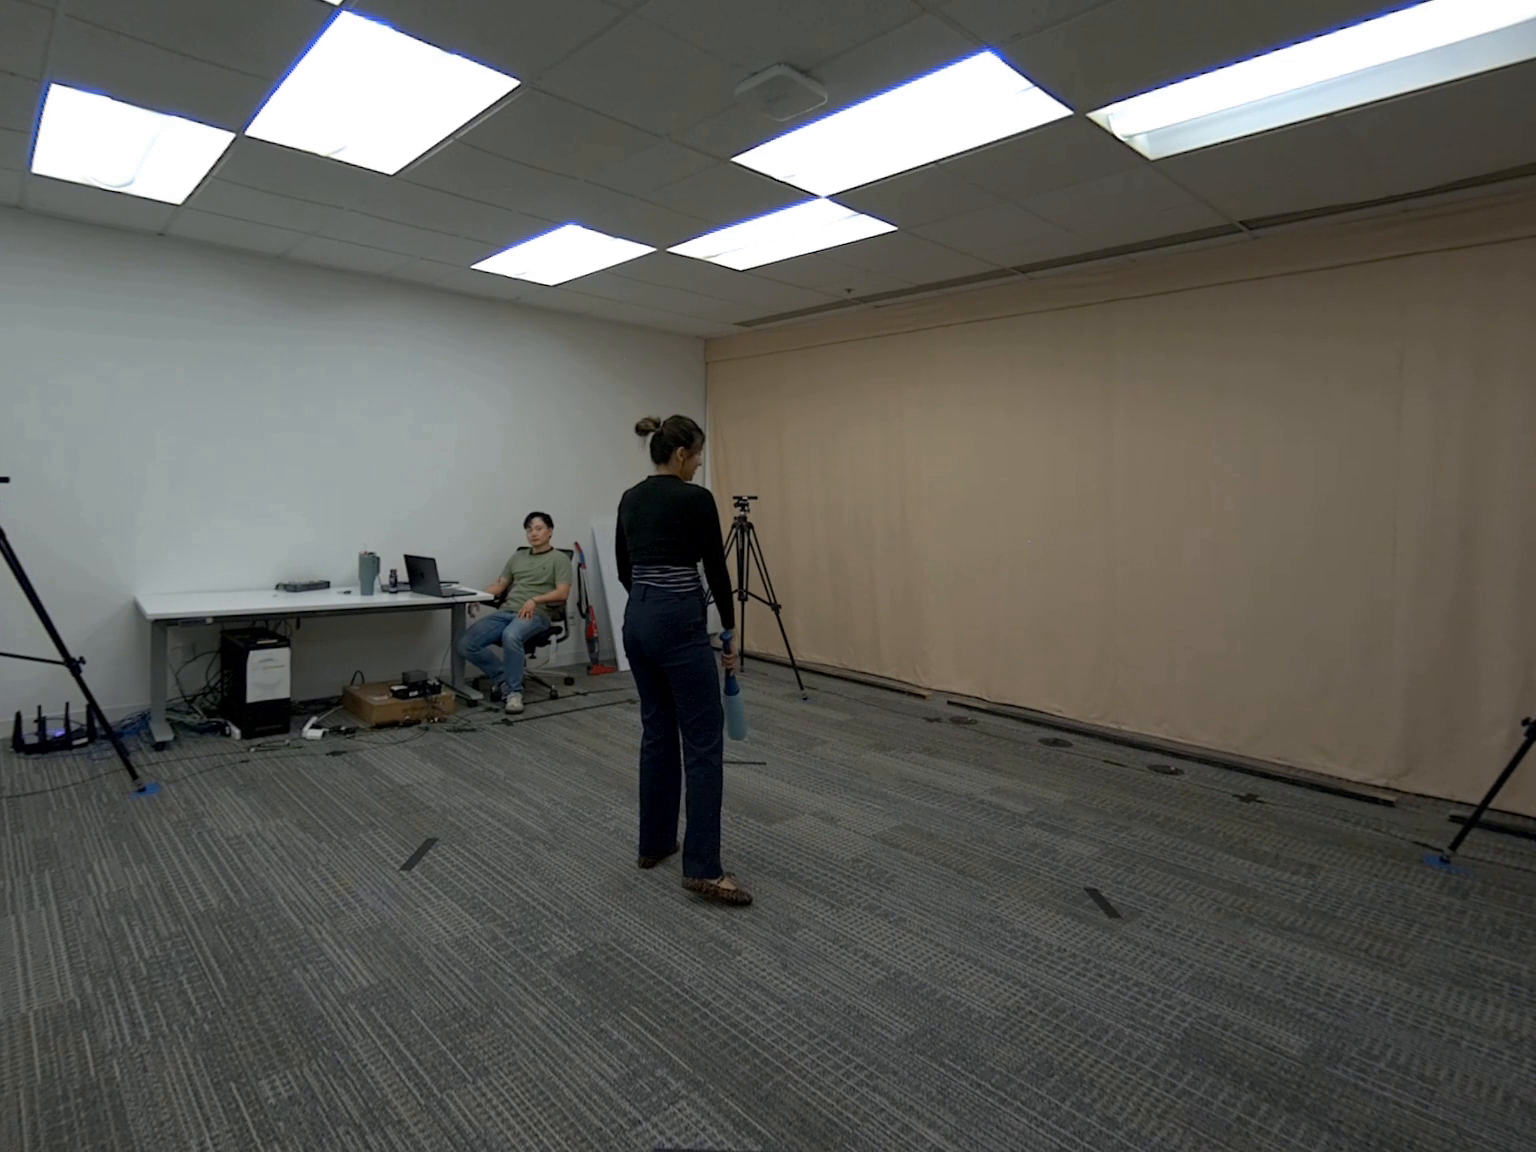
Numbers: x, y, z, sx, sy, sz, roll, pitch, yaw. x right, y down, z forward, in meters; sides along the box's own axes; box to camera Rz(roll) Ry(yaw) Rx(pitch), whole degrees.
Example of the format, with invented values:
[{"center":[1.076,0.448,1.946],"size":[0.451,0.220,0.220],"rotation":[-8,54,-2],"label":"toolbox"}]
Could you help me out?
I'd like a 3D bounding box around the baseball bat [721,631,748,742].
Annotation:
[{"center":[-0.160,0.446,3.358],"size":[0.089,0.531,0.091],"rotation":[-4,33,2],"label":"baseball bat"}]
